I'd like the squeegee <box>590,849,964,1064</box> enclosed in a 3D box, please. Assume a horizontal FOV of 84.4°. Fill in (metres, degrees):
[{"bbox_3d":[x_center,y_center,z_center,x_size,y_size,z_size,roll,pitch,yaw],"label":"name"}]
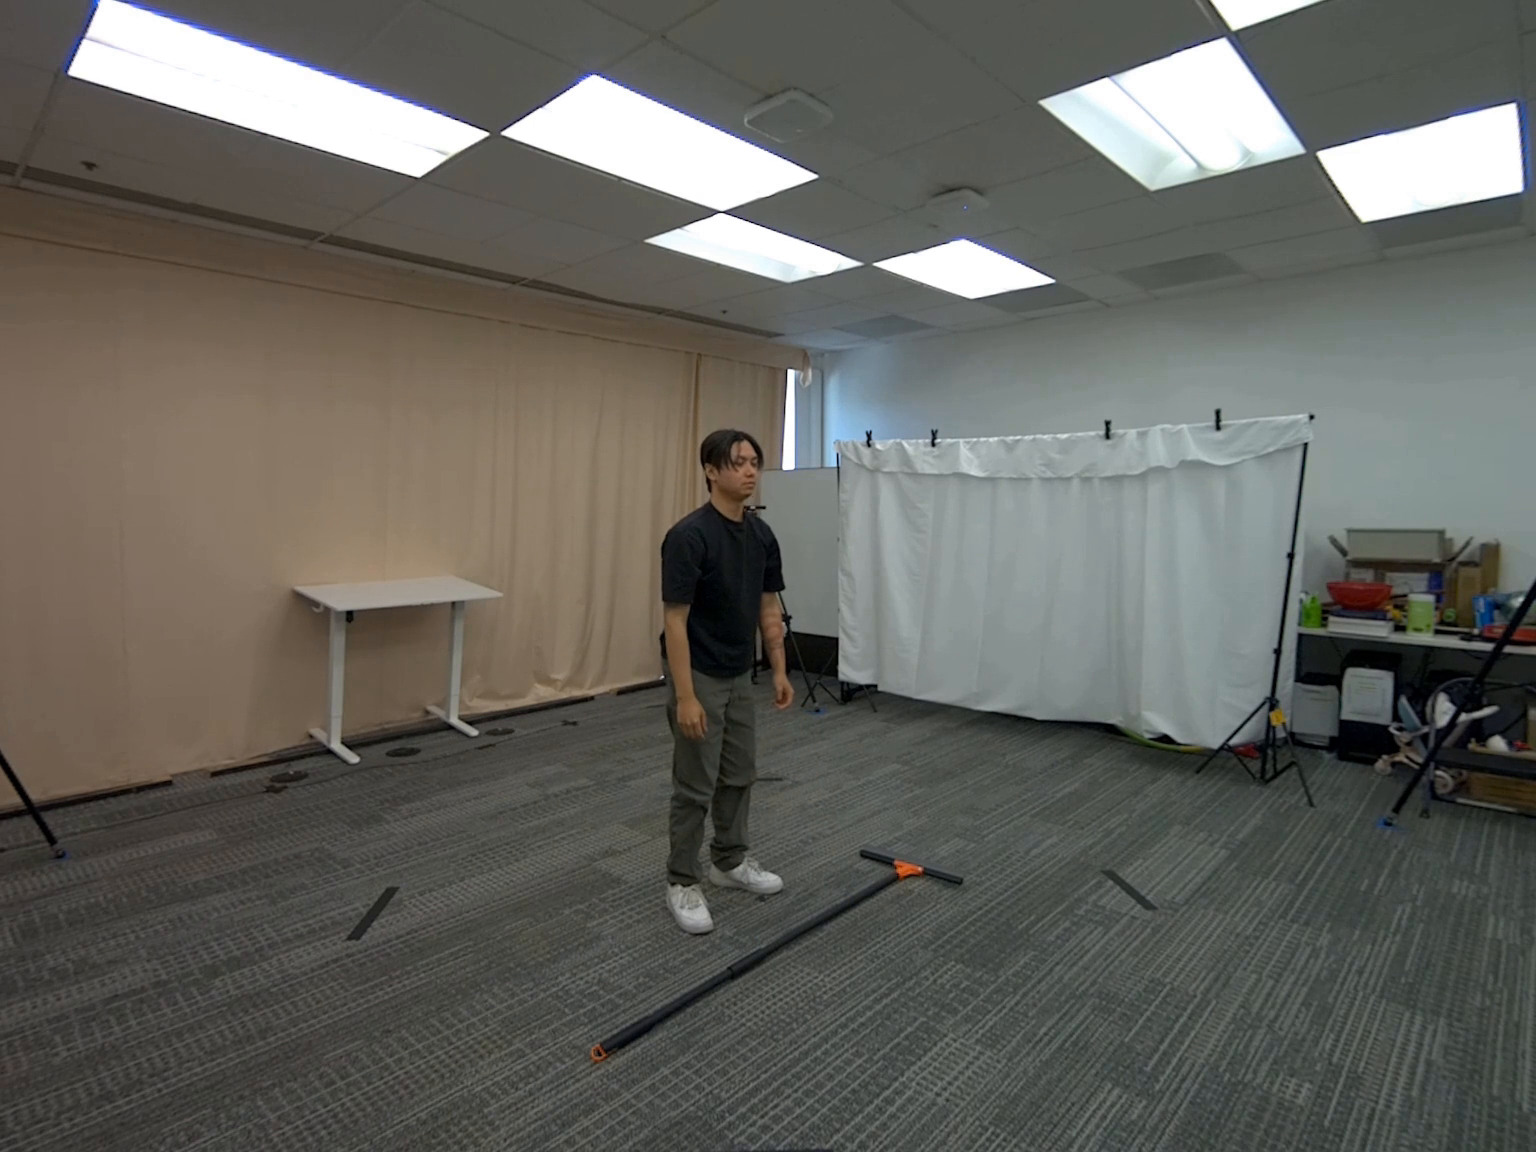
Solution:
[{"bbox_3d":[0.059,1.132,2.671,0.452,0.053,1.491,2,5,43],"label":"squeegee"}]
